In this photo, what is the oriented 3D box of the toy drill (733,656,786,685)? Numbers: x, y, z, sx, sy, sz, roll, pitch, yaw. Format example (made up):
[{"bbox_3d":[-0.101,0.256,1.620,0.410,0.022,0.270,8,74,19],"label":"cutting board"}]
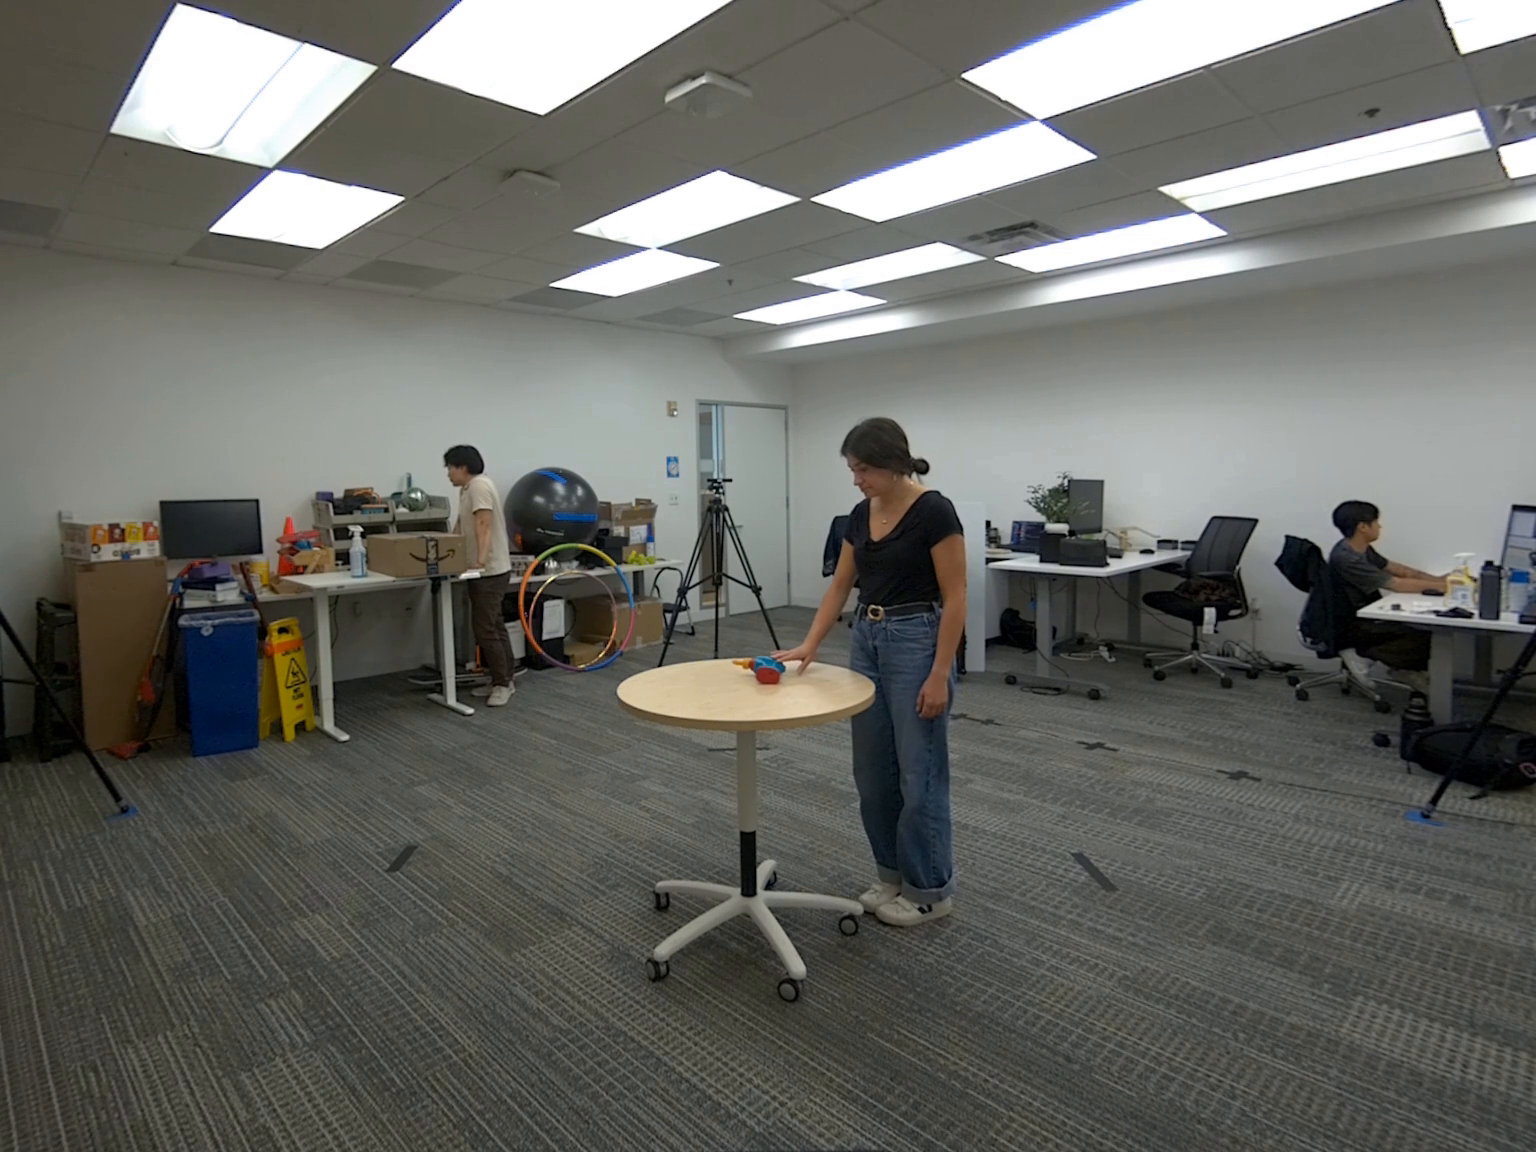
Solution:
[{"bbox_3d":[-0.026,0.284,2.632,0.171,0.061,0.146,7,7,6],"label":"toy drill"}]
